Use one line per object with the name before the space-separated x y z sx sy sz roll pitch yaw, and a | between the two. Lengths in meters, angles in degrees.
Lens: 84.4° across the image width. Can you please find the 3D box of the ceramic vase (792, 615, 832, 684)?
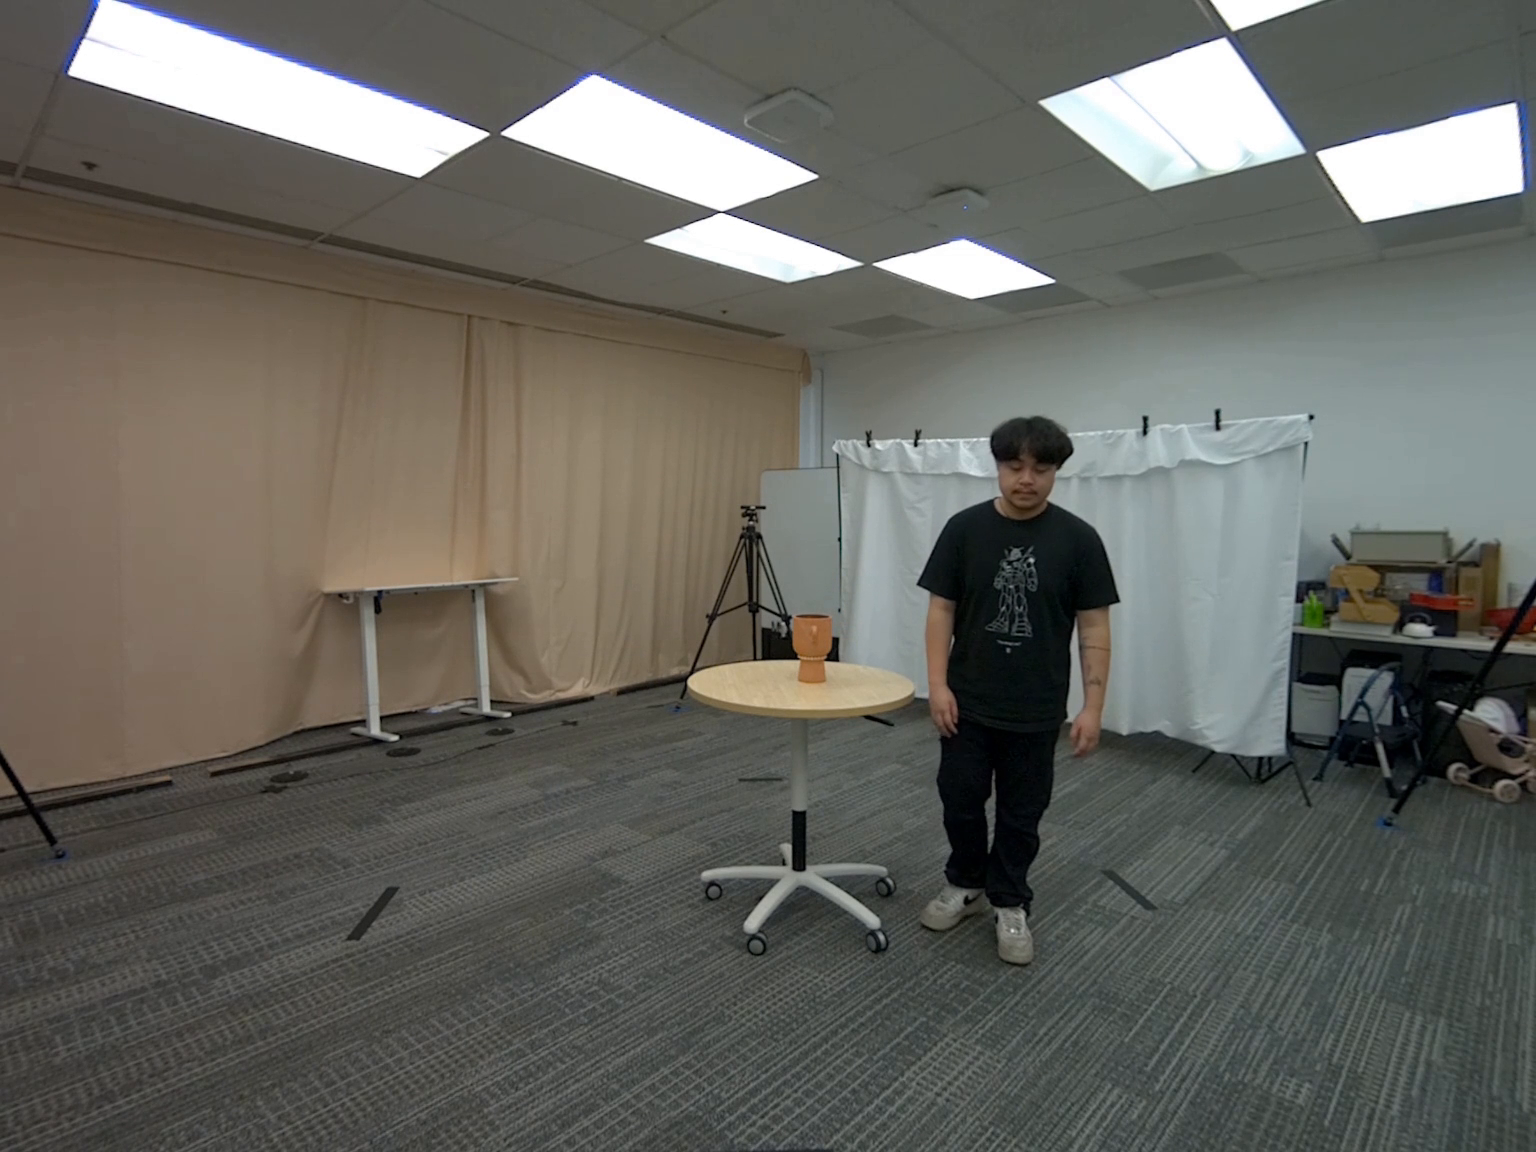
ceramic vase | 0.159 0.248 2.877 0.139 0.219 0.154 3 5 38
